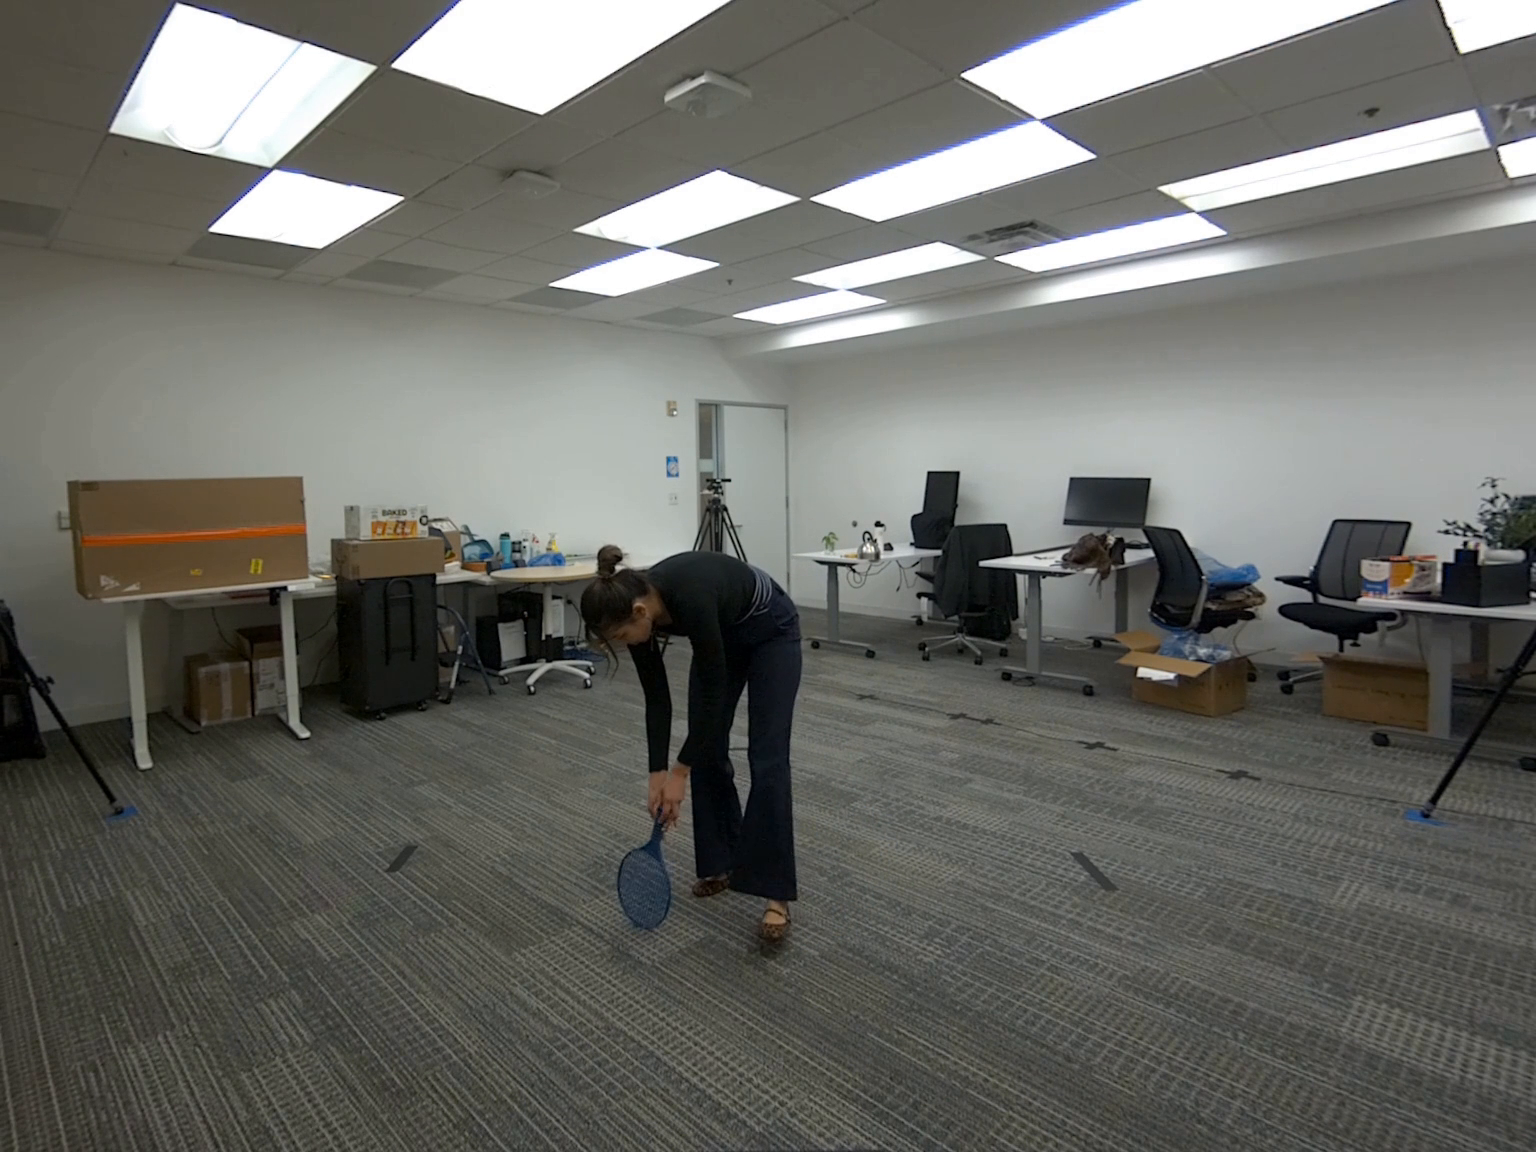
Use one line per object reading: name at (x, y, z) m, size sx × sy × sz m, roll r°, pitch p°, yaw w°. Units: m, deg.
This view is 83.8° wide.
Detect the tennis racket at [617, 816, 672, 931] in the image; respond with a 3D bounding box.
tennis racket at (-0.357, 0.897, 2.625) m, size 0.221 × 0.428 × 0.031 m, roll 26°, pitch 22°, yaw 31°
